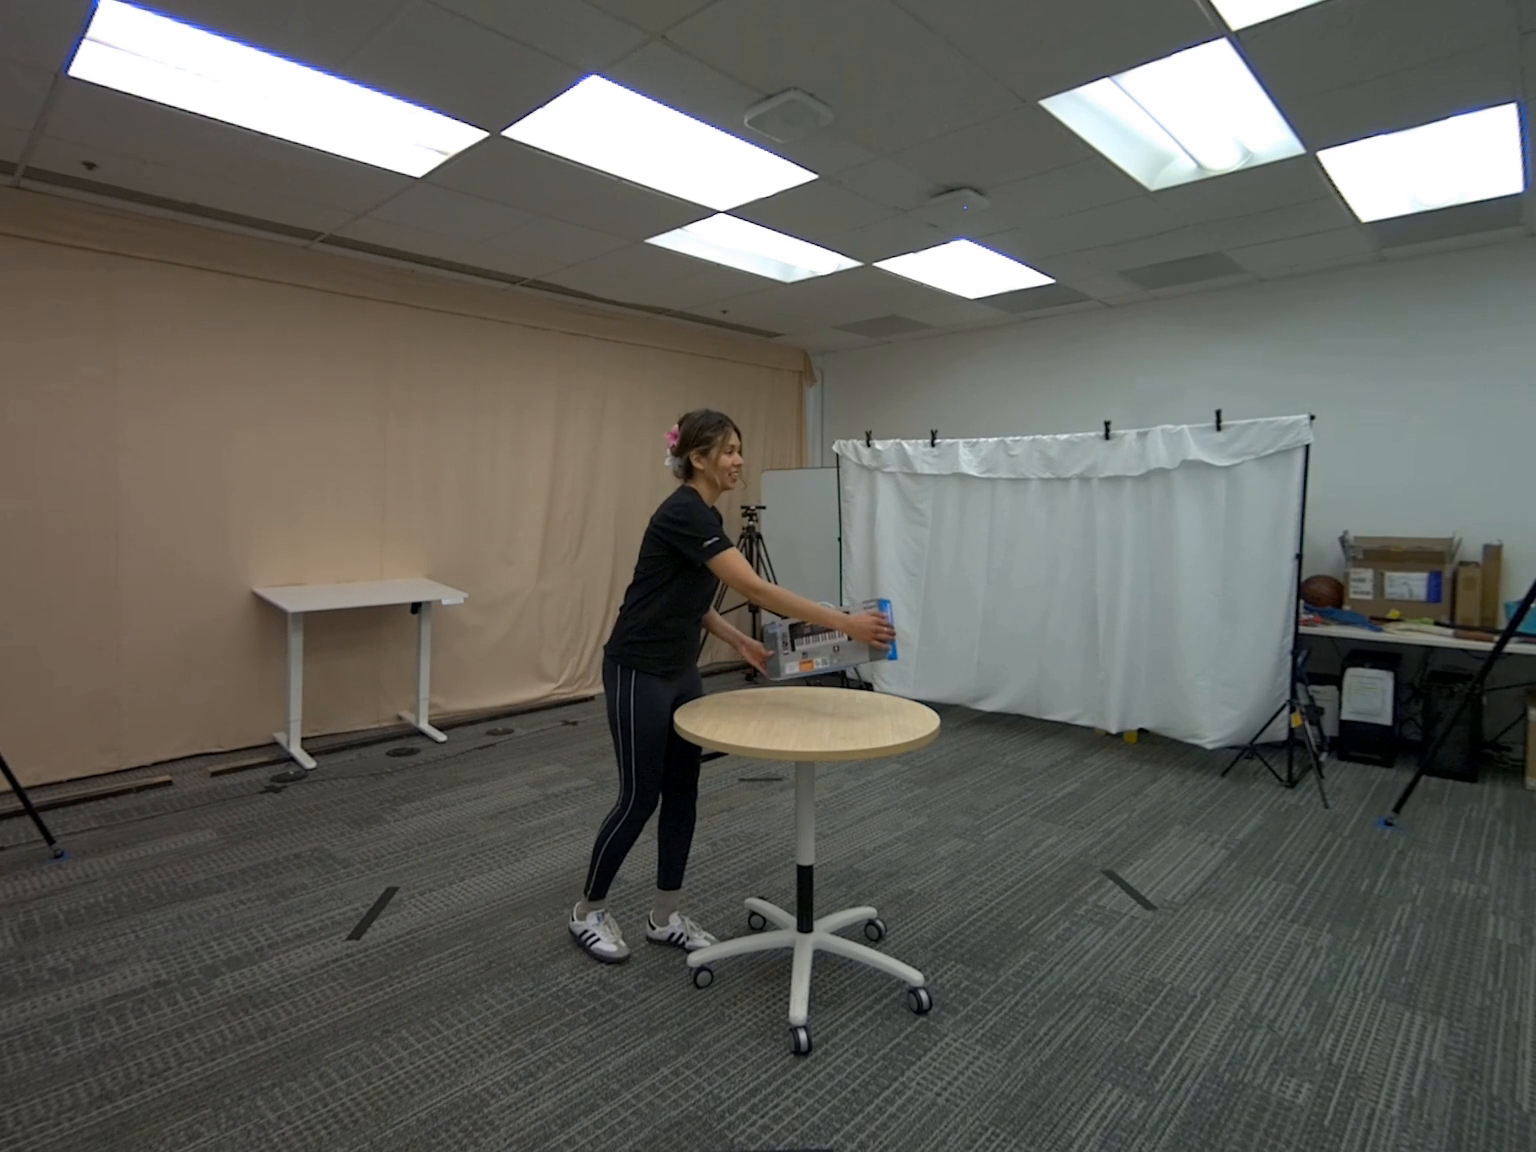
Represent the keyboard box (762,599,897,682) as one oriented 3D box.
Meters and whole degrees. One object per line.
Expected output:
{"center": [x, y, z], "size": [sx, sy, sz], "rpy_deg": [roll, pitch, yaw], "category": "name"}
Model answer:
{"center": [0.176, 0.195, 2.484], "size": [0.448, 0.178, 0.057], "rpy_deg": [-16, -18, 39], "category": "keyboard box"}
